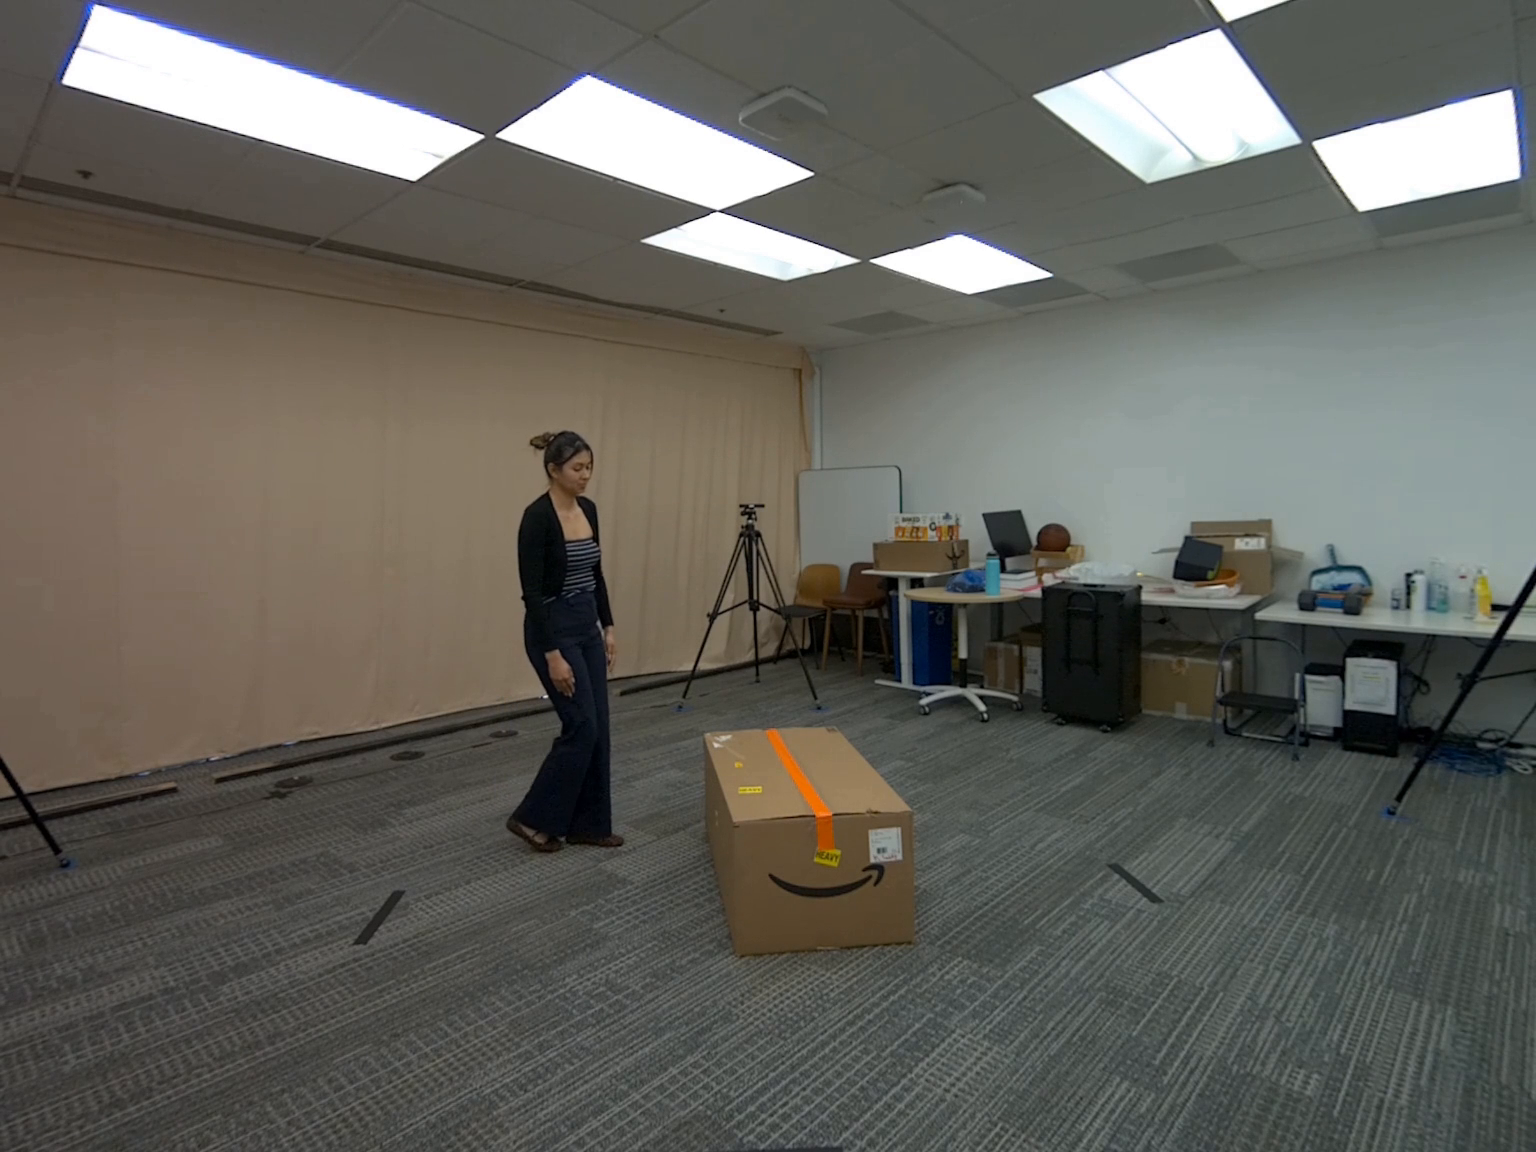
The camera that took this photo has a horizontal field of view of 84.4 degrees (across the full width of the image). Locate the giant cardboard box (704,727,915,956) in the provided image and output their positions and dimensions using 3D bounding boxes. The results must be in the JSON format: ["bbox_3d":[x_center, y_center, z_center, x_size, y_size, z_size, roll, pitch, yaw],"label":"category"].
[{"bbox_3d":[0.101,0.908,3.116,0.573,0.425,1.037,-2,5,-9],"label":"giant cardboard box"}]
